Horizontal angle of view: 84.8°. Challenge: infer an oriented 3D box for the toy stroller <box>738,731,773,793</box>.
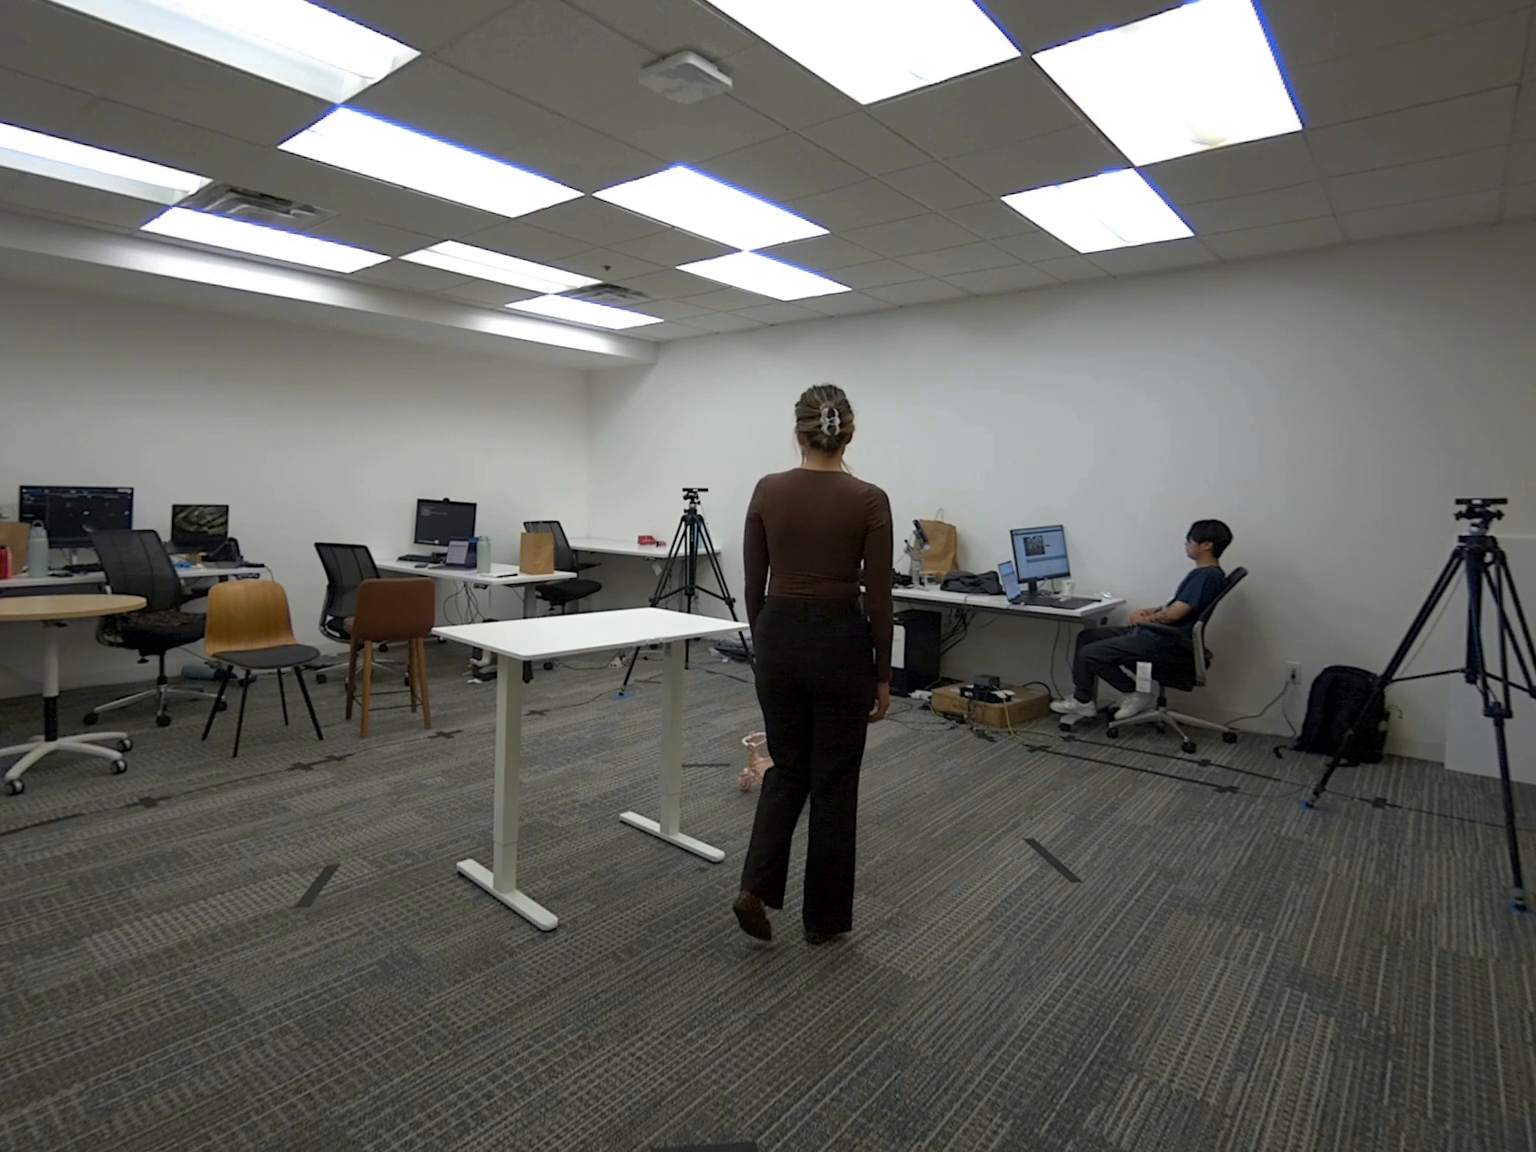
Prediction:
[{"bbox_3d":[0.040,0.776,3.815,0.355,0.530,0.273,24,17,38],"label":"toy stroller"}]
